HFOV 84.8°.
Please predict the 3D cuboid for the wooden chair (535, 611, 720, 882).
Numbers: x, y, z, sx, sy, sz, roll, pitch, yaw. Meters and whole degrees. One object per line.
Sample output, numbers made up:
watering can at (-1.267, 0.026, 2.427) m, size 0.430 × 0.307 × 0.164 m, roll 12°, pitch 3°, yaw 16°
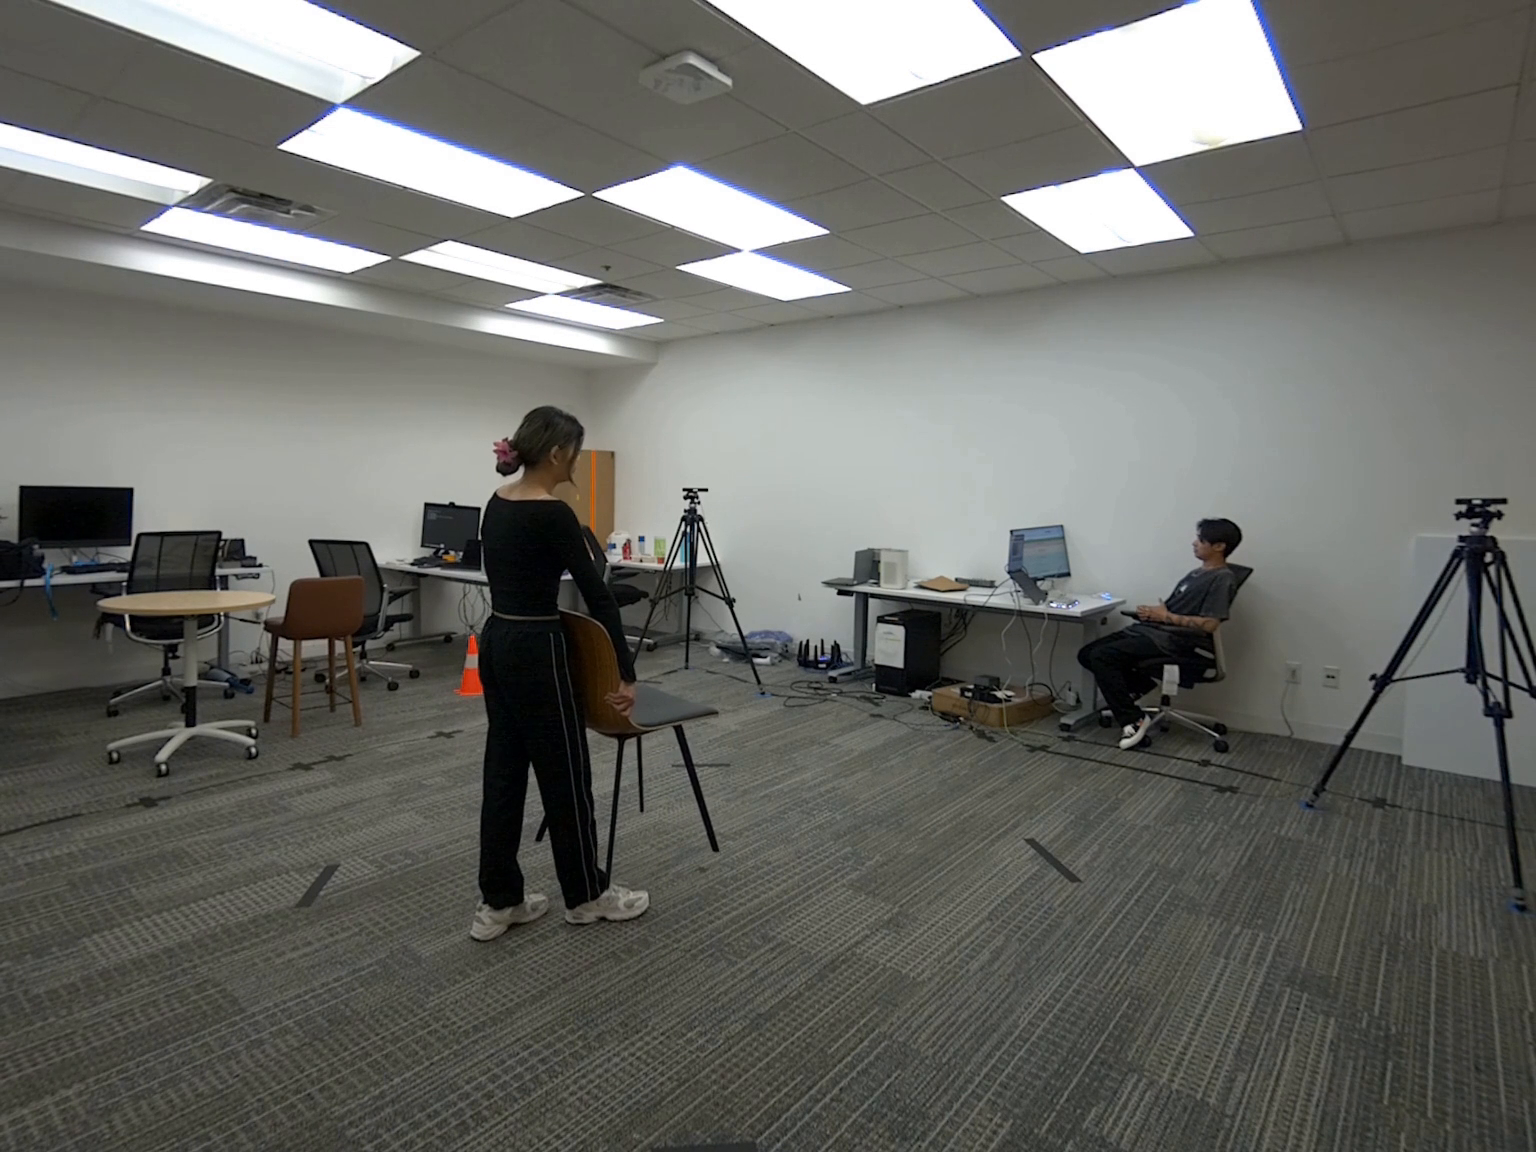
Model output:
wooden chair at (-0.476, 0.501, 2.886) m, size 0.509 × 0.872 × 0.494 m, roll -8°, pitch 8°, yaw -40°
